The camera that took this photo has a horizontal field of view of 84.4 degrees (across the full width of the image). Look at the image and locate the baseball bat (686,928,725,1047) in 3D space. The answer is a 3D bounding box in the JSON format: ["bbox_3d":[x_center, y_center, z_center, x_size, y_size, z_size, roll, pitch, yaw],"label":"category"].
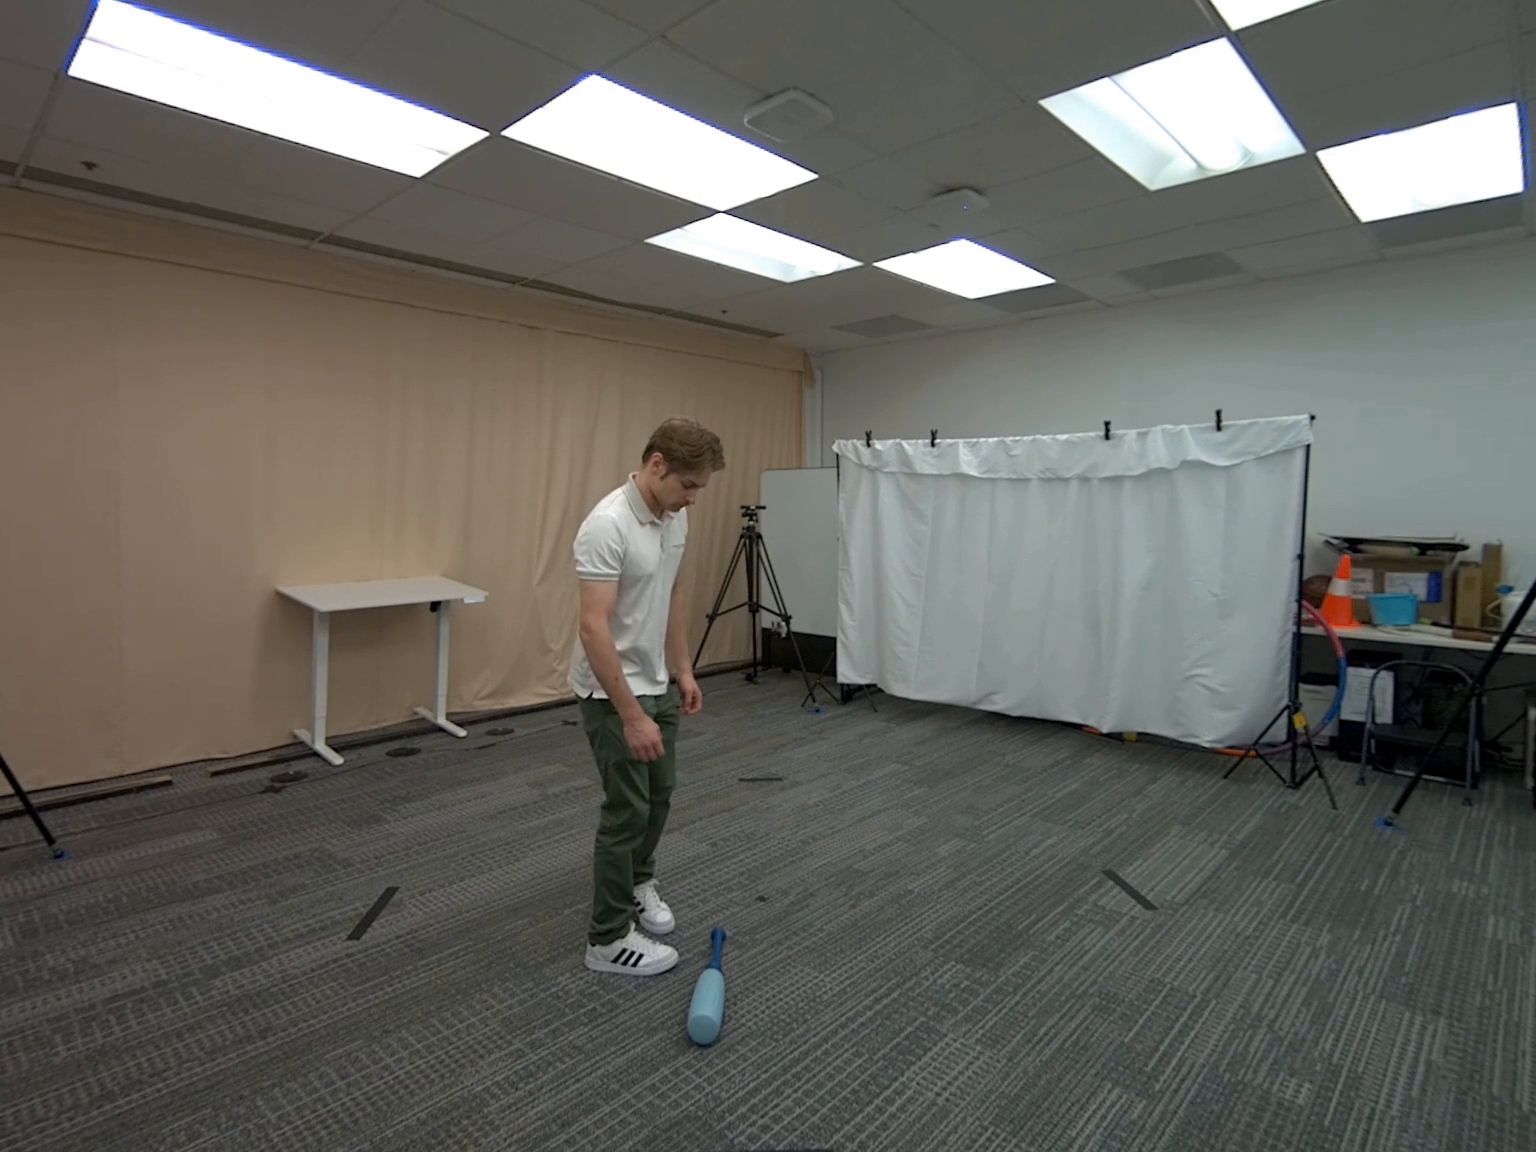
[{"bbox_3d":[-0.158,1.157,2.421,0.089,0.089,0.541,0,2,1],"label":"baseball bat"}]
